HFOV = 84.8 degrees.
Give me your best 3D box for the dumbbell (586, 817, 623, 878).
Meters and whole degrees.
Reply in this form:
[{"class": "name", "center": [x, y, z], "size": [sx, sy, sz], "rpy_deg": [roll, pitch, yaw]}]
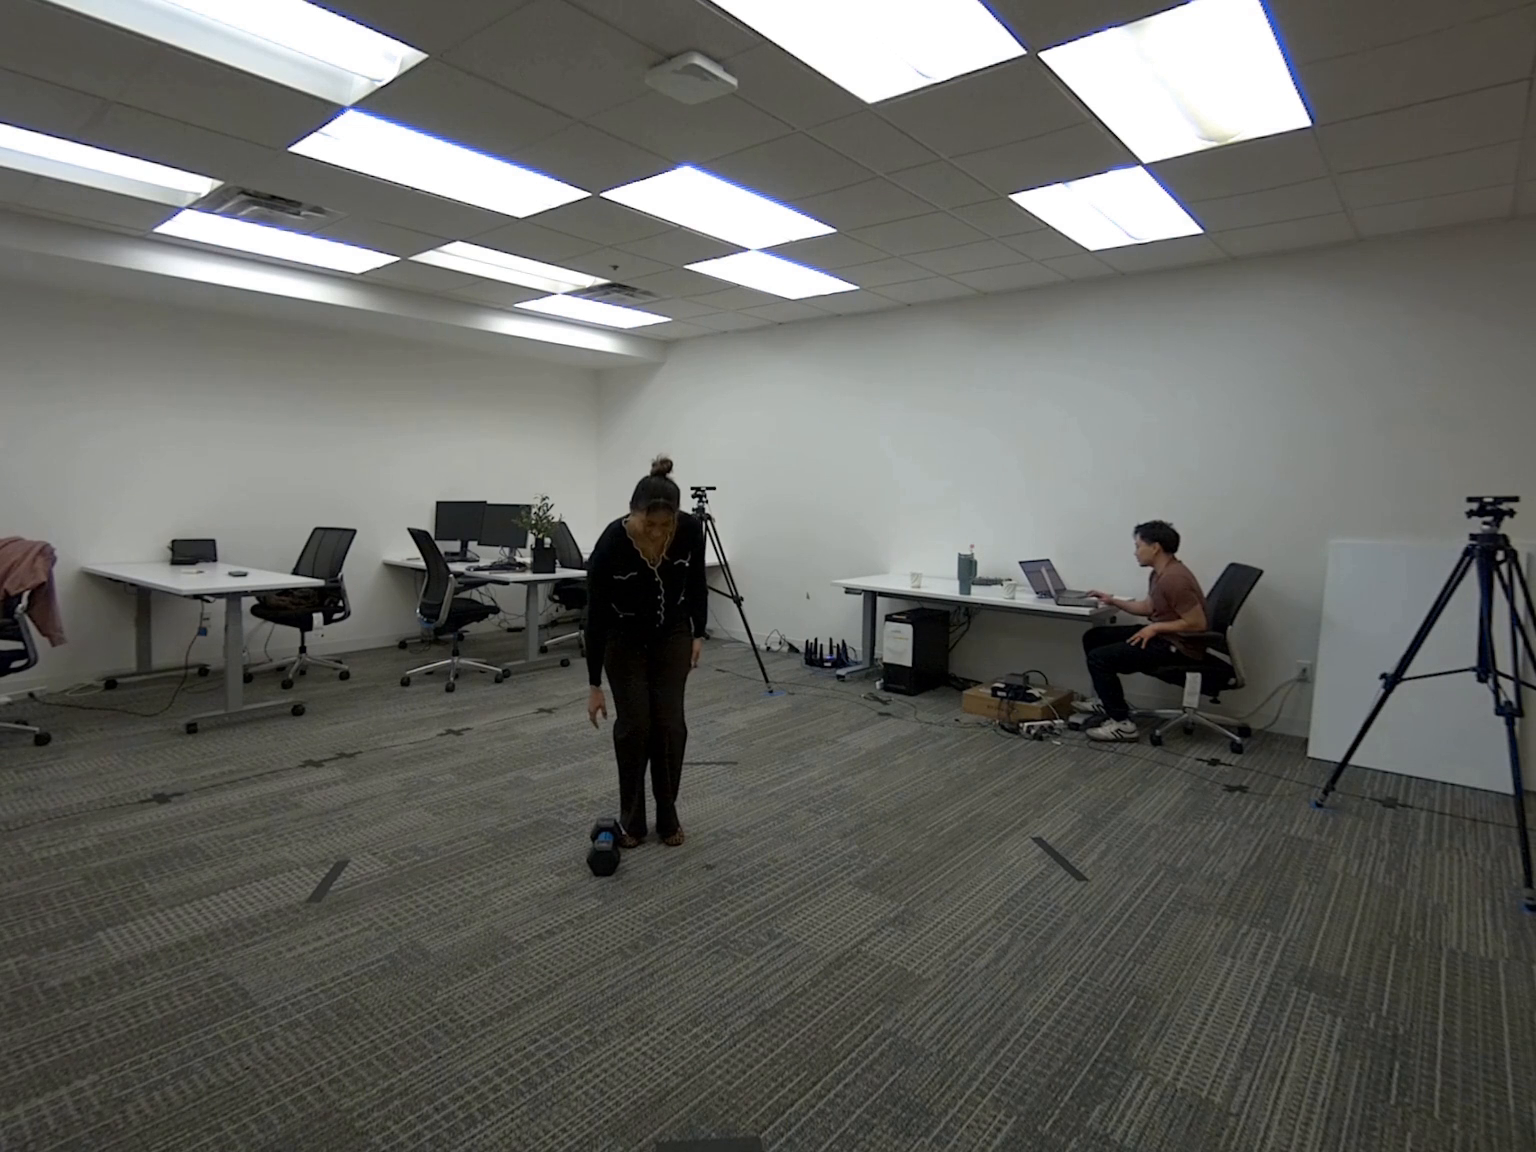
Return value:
[{"class": "dumbbell", "center": [-0.618, 1.001, 3.159], "size": [0.108, 0.122, 0.297], "rpy_deg": [-27, 8, -4]}]
